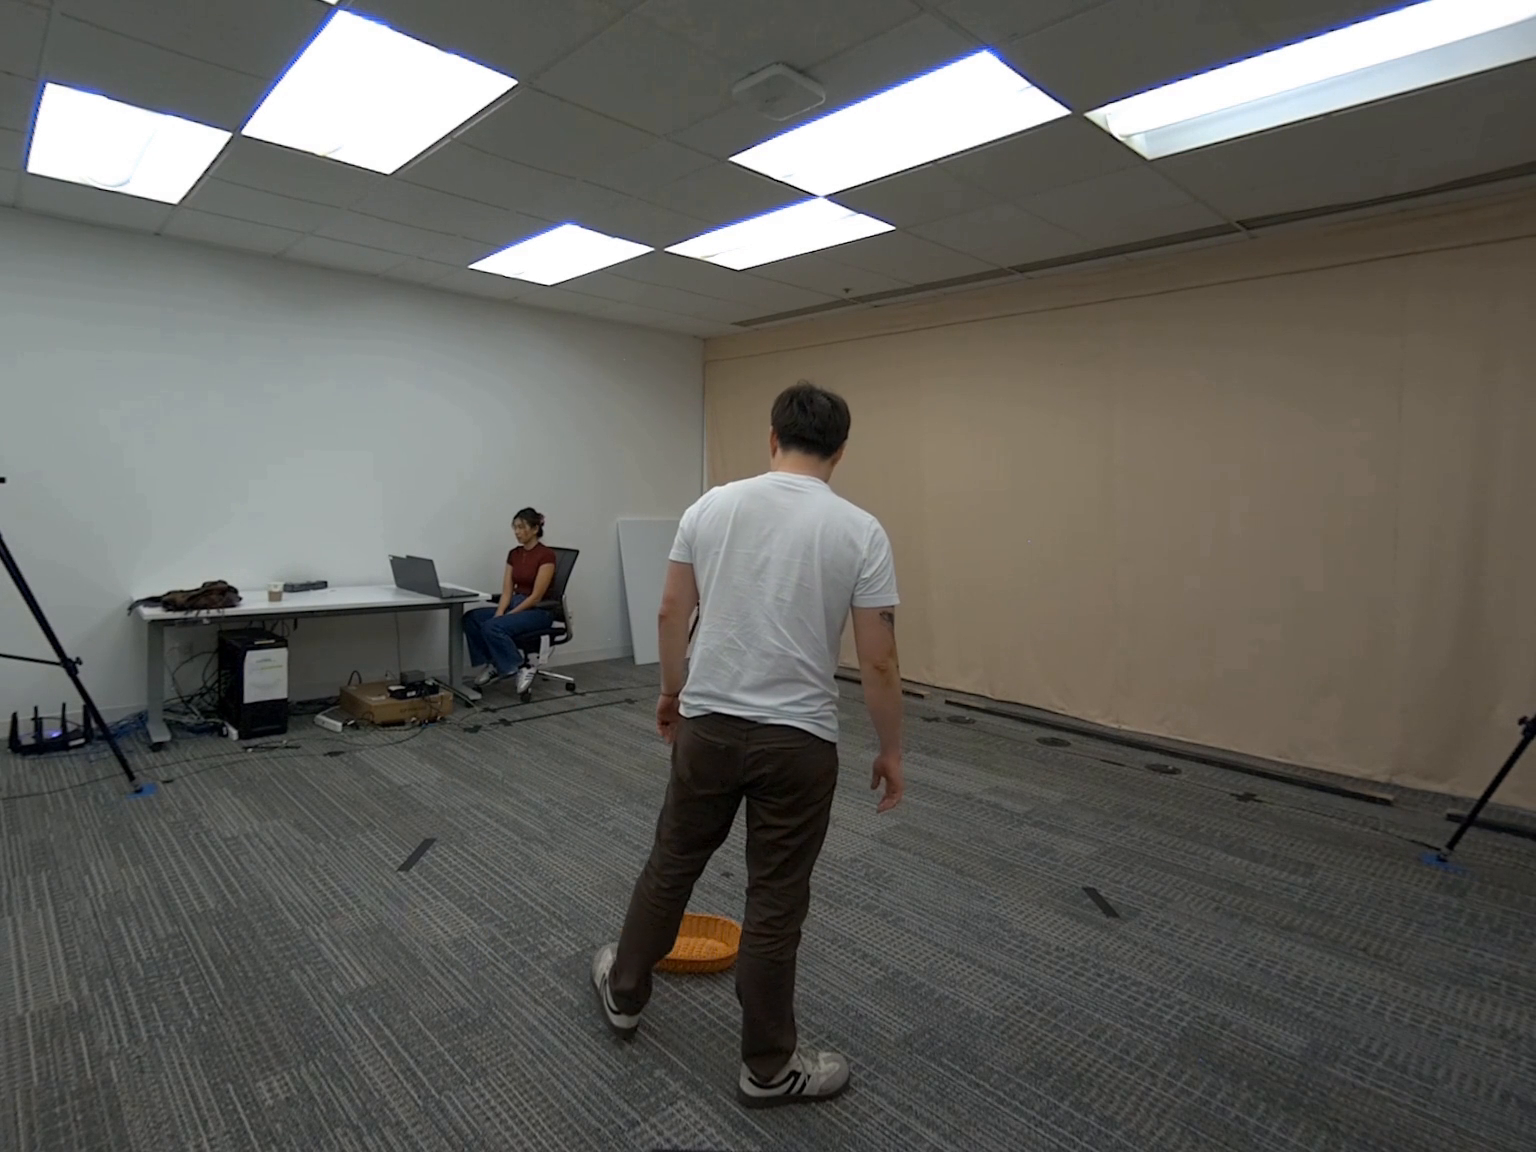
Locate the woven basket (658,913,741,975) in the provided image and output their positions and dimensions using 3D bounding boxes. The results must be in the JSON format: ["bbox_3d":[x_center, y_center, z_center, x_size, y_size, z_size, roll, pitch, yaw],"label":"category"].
[{"bbox_3d":[-0.246,1.117,2.541,0.352,0.073,0.252,2,5,7],"label":"woven basket"}]
